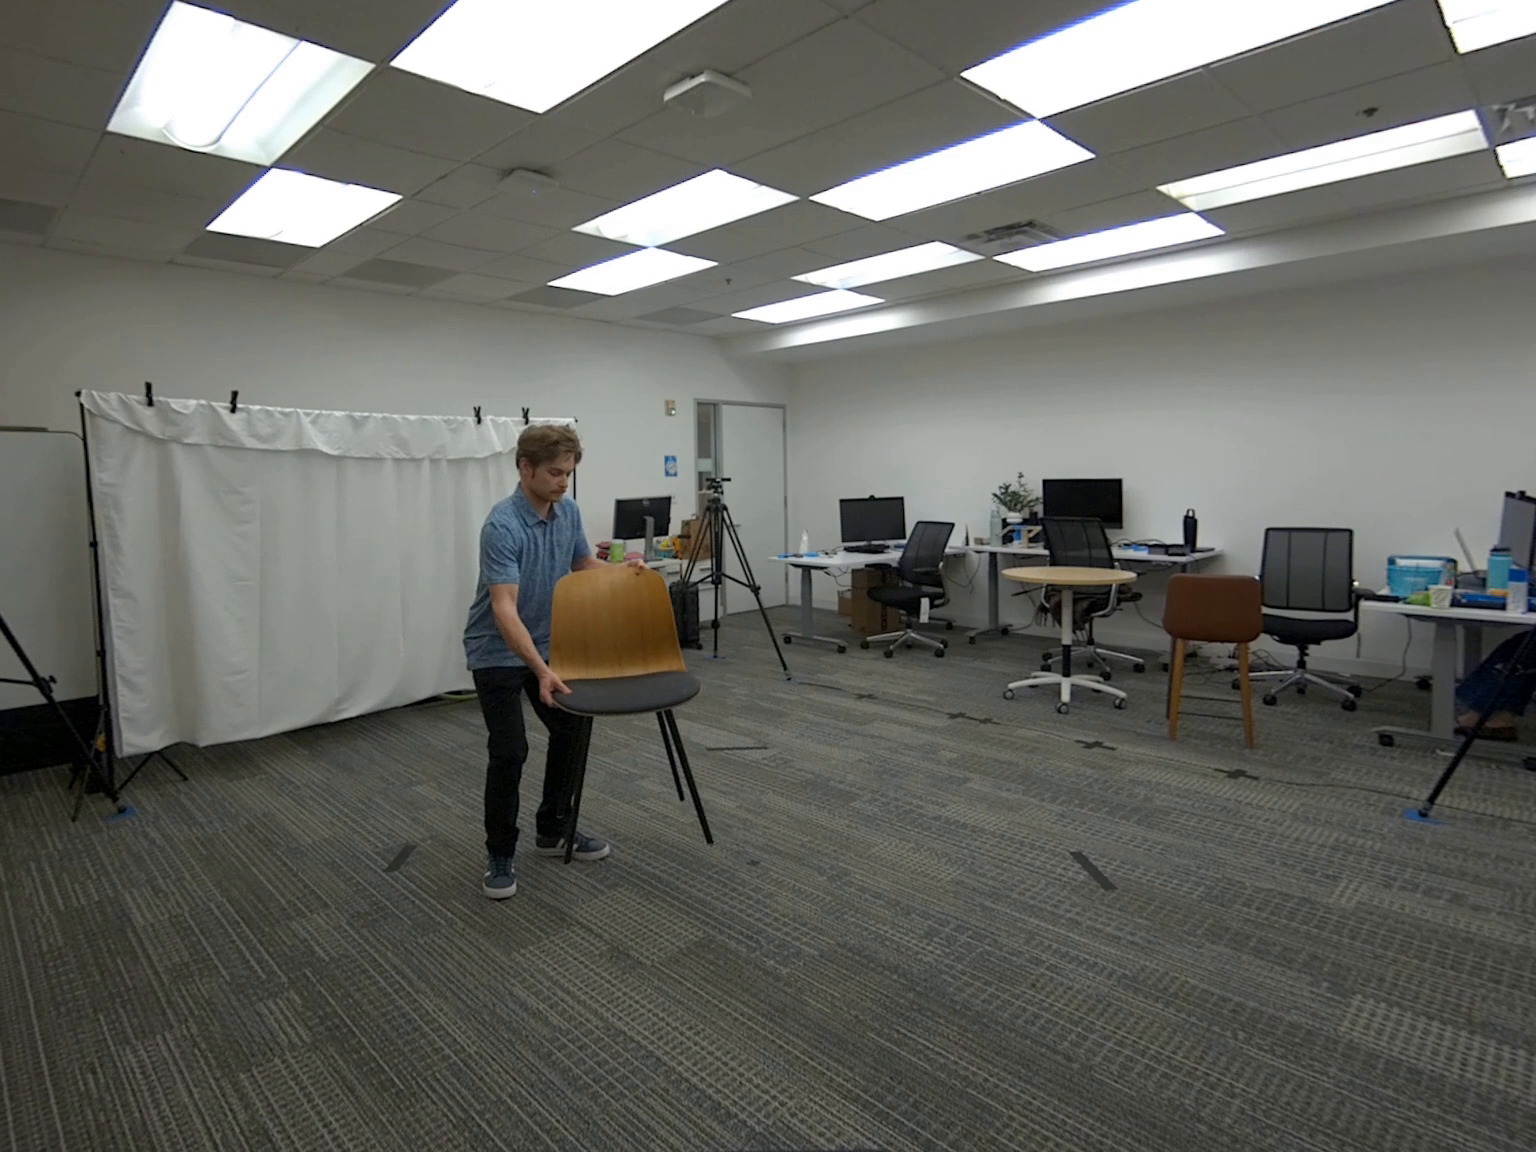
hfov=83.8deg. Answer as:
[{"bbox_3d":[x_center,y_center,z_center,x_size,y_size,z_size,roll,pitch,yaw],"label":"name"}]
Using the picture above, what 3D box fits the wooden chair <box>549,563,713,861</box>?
[{"bbox_3d":[-0.461,0.404,2.774,0.472,0.880,0.529,-3,-3,-15],"label":"wooden chair"}]
